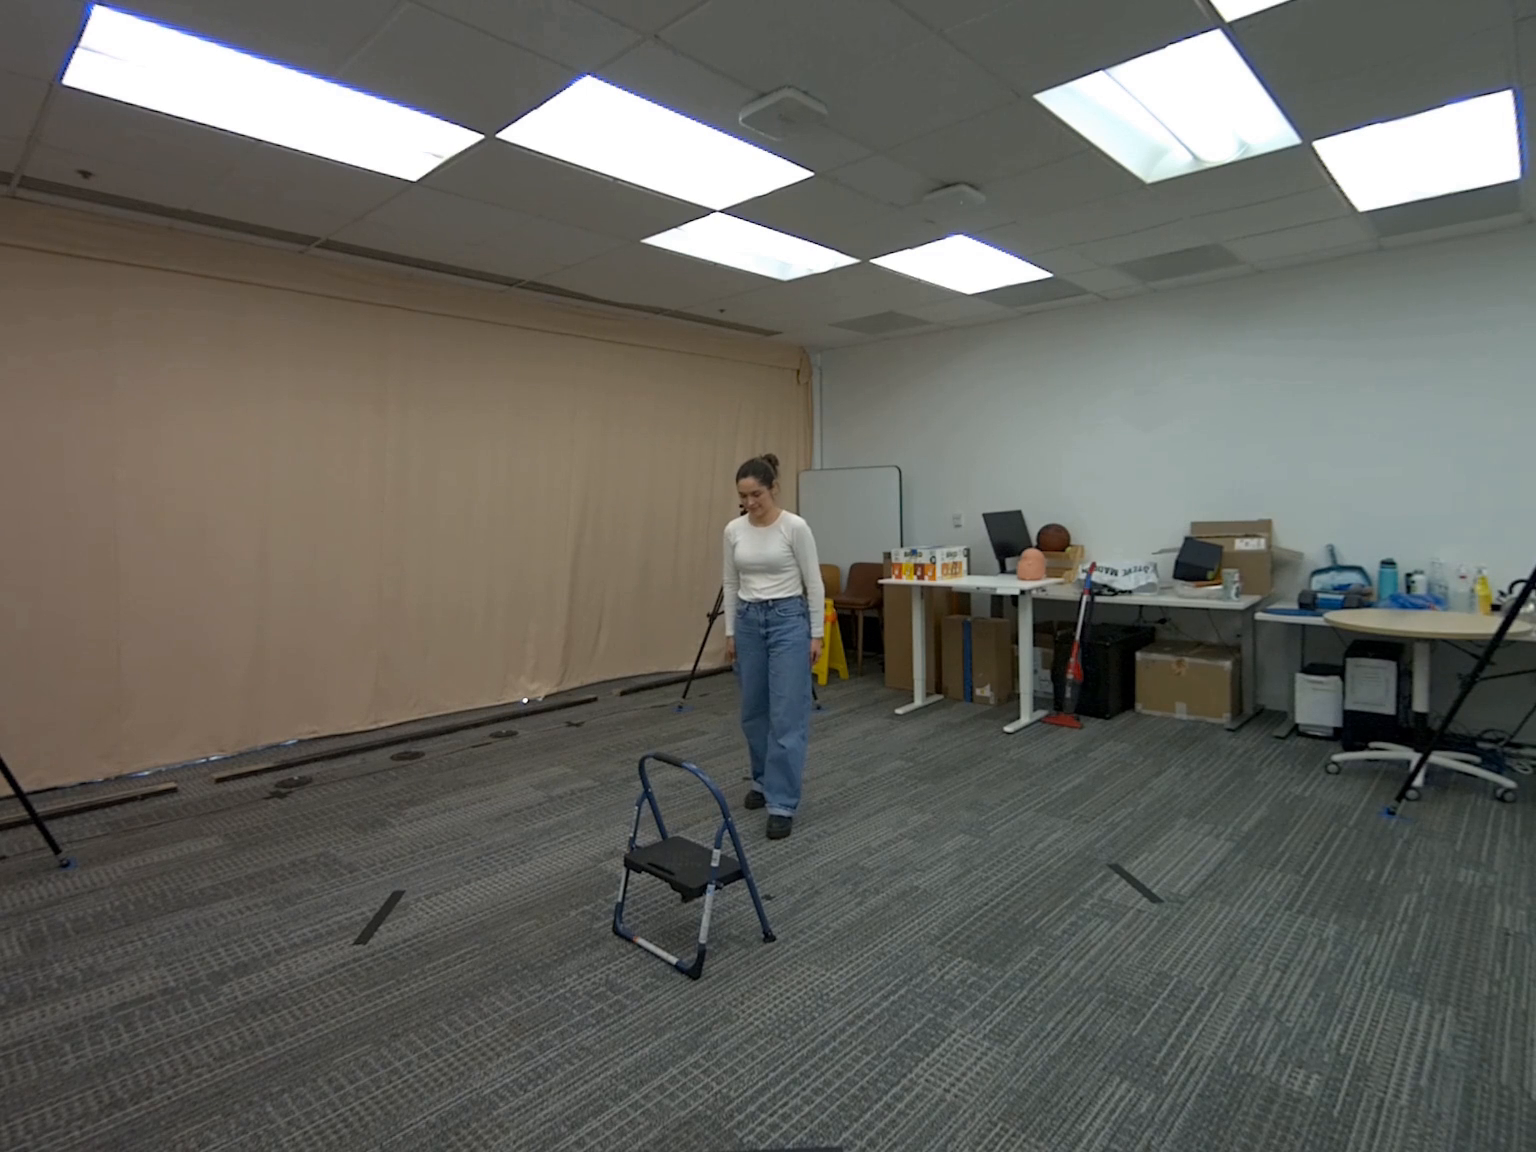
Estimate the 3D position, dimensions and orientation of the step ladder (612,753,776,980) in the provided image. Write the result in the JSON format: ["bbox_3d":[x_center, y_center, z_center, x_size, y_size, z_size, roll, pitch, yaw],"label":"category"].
[{"bbox_3d":[-0.254,0.865,2.714,0.445,0.605,0.338,2,3,44],"label":"step ladder"}]
